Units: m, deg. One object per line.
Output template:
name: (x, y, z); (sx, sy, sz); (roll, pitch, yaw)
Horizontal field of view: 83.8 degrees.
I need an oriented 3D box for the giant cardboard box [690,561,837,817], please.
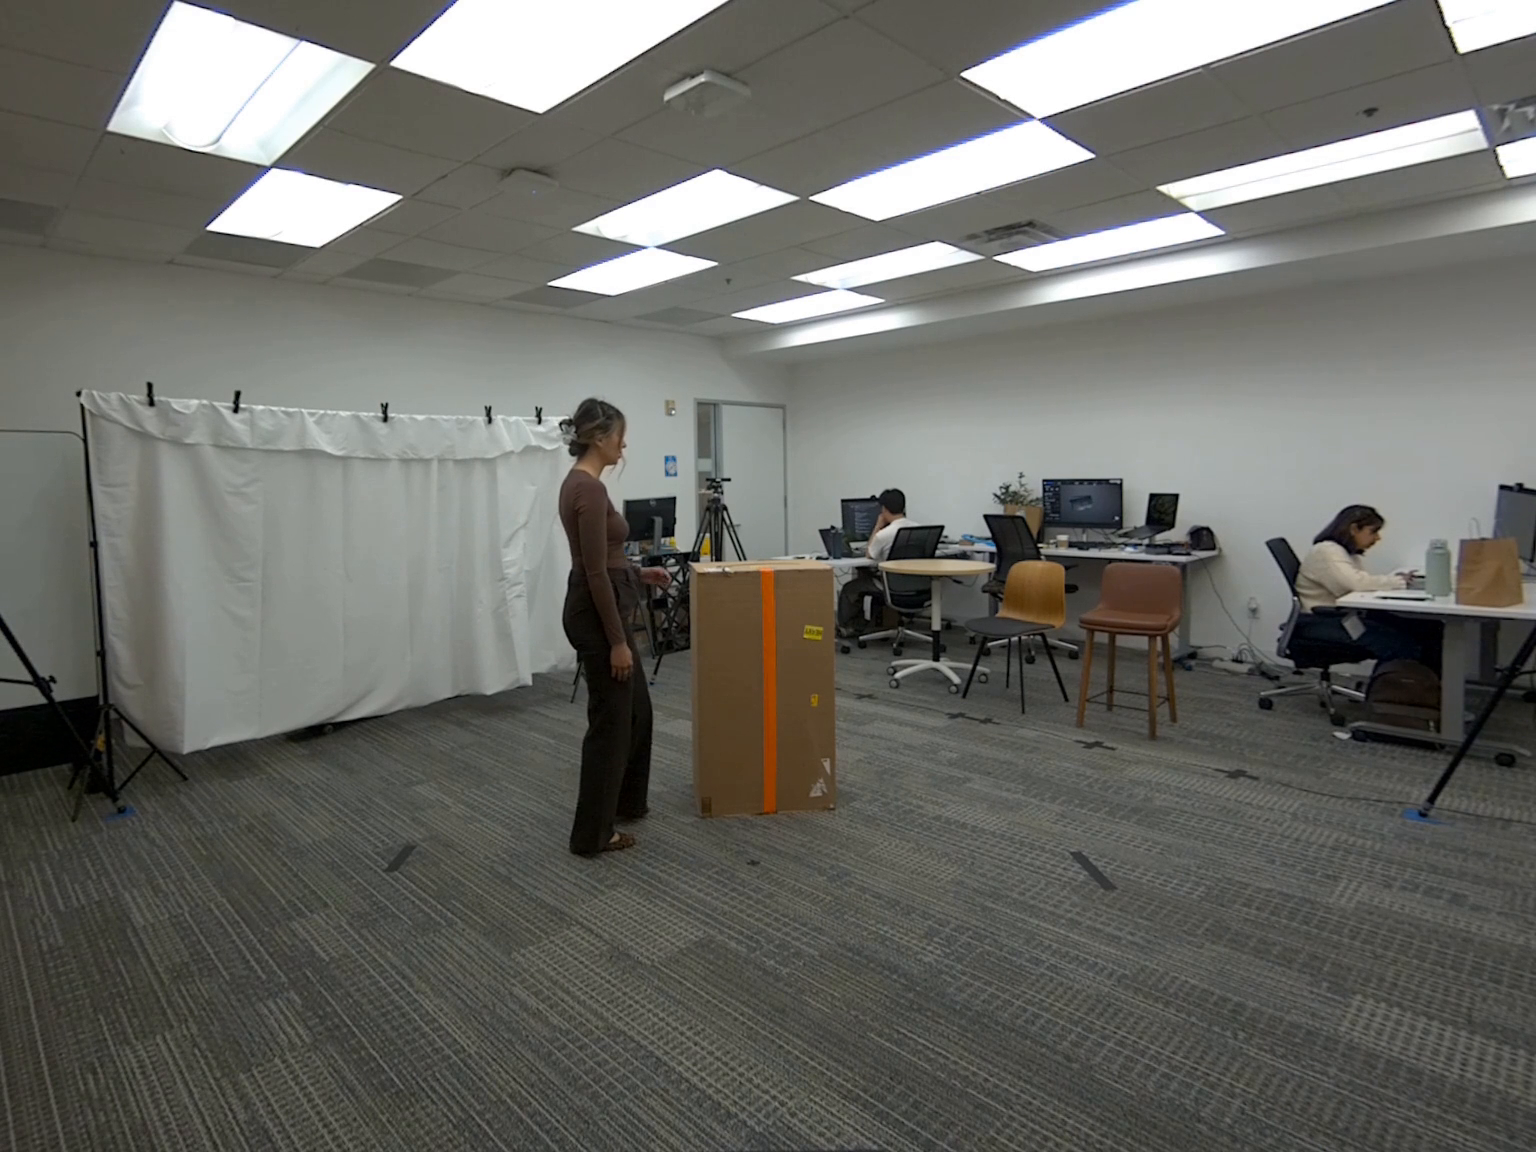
giant cardboard box: (-0.034, 0.460, 3.737); (0.580, 1.024, 0.452); (-2, 4, -8)
